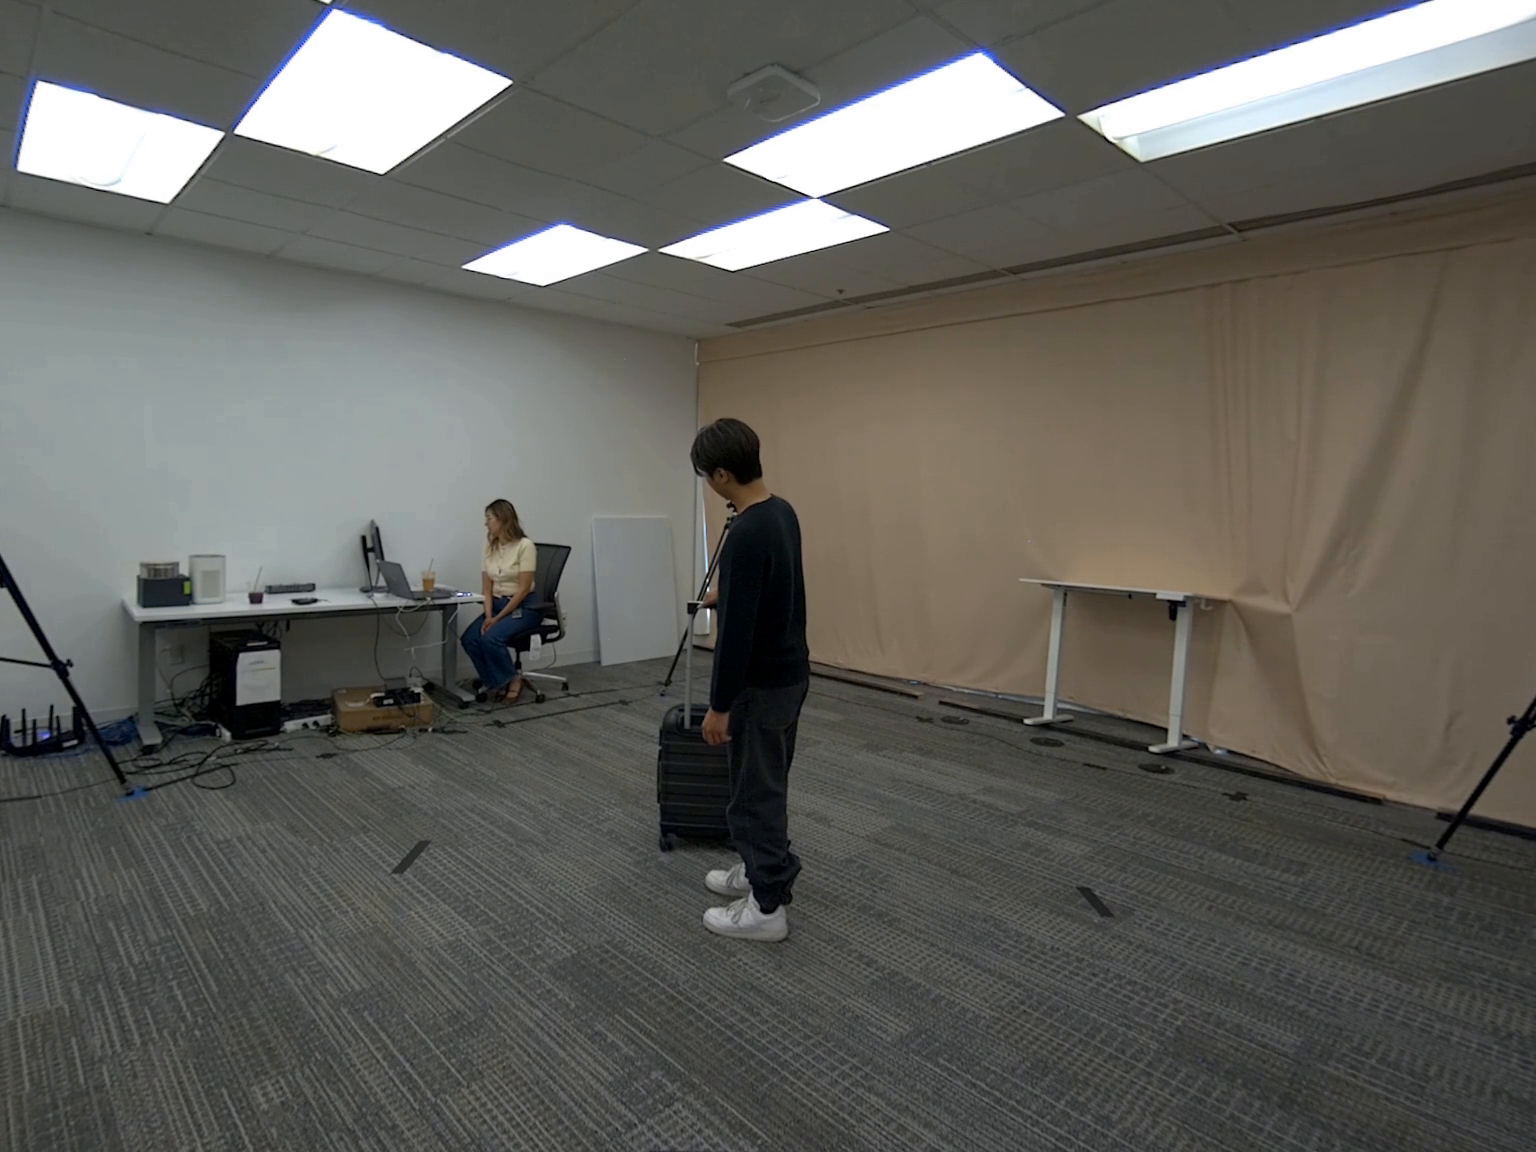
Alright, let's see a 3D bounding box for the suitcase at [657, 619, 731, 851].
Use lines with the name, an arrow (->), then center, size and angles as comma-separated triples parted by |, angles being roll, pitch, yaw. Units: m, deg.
suitcase -> -0.254, 0.597, 3.422 | 0.385, 0.978, 0.256 | 2, 1, 3
